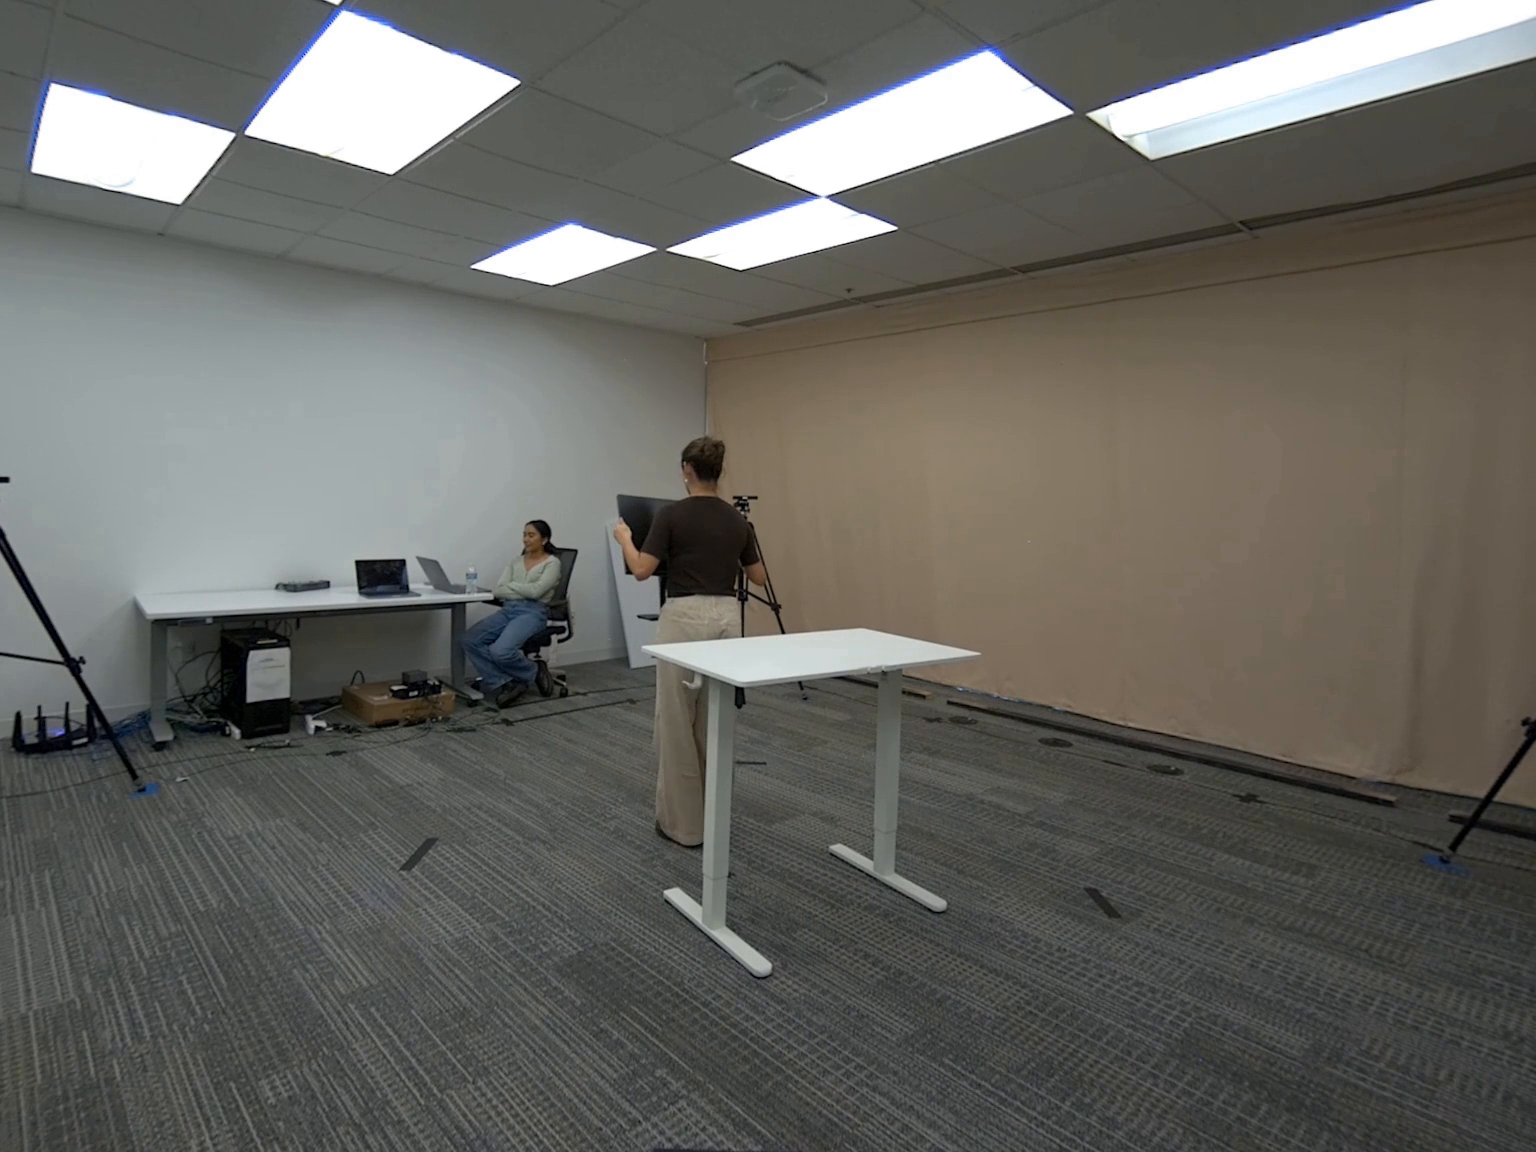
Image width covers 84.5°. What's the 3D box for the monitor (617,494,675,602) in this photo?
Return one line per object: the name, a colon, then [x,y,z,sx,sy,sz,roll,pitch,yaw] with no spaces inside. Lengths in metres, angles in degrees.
monitor: [-0.410,-0.065,3.637,0.526,0.525,0.191,4,-7,-35]
